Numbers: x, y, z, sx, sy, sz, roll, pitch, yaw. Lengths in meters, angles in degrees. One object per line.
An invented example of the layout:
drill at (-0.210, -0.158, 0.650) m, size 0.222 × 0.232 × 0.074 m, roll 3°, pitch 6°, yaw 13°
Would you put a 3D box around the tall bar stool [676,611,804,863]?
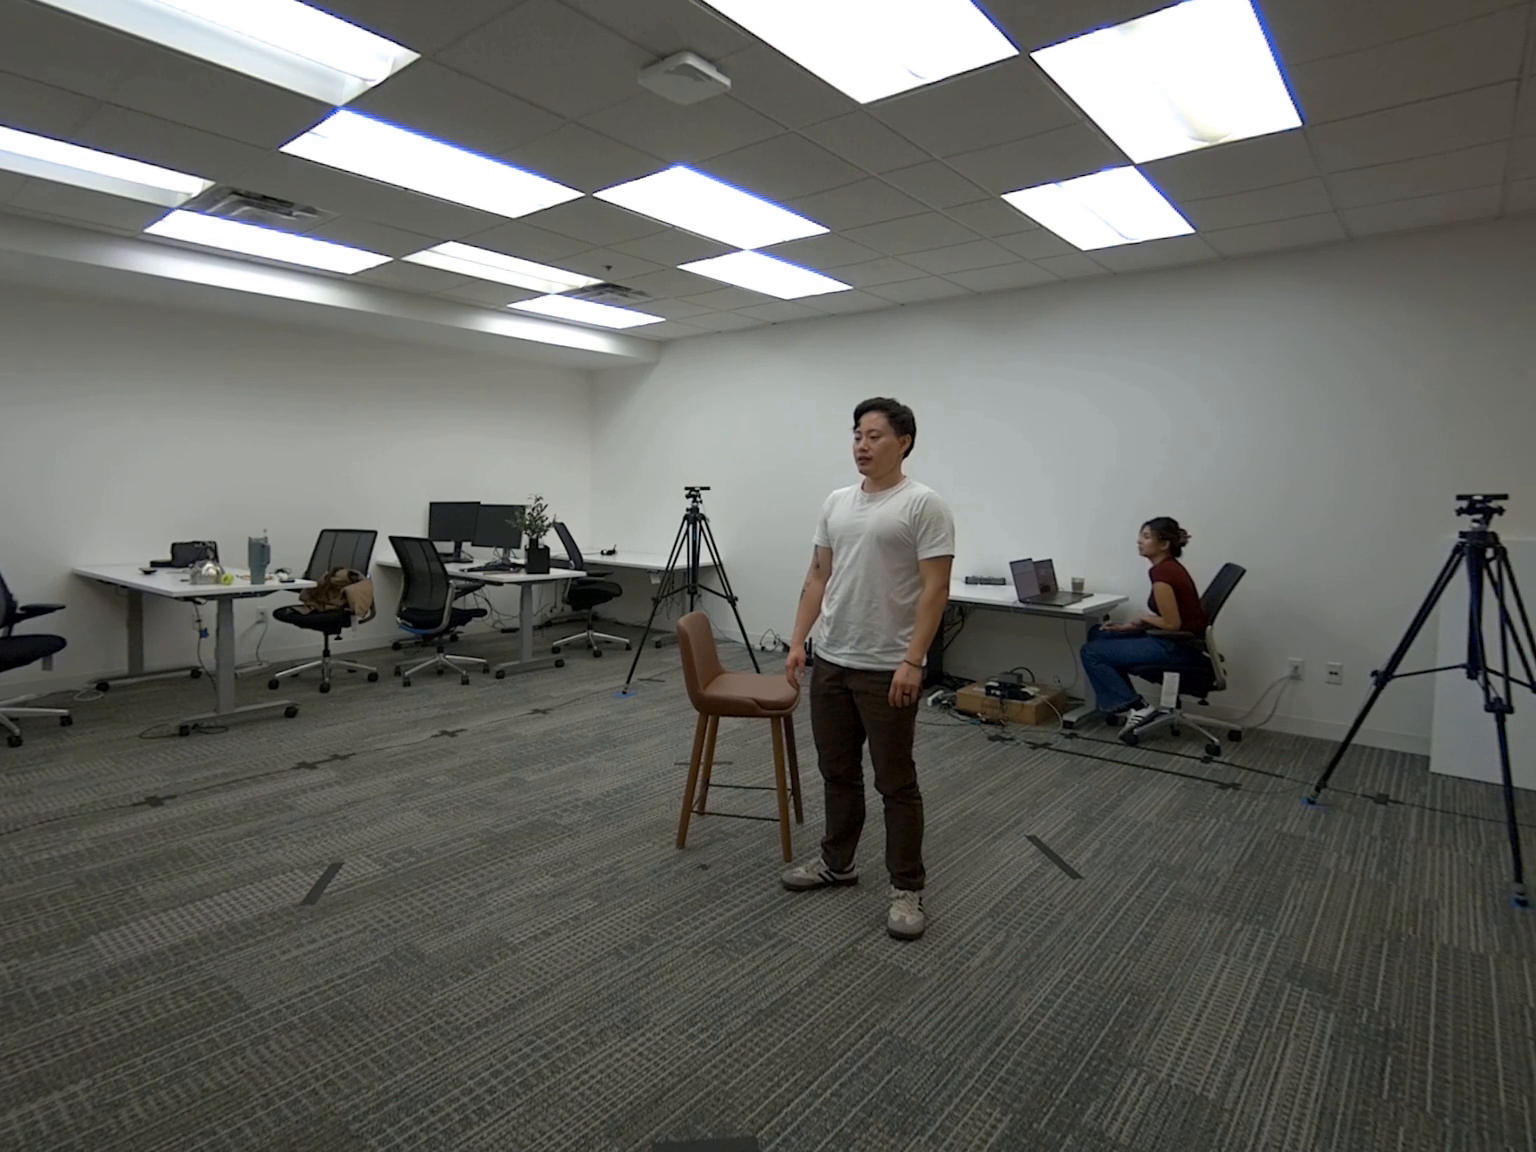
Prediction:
tall bar stool at (-0.114, 0.606, 3.396) m, size 0.474 × 0.888 × 0.451 m, roll 0°, pitch 3°, yaw 12°
